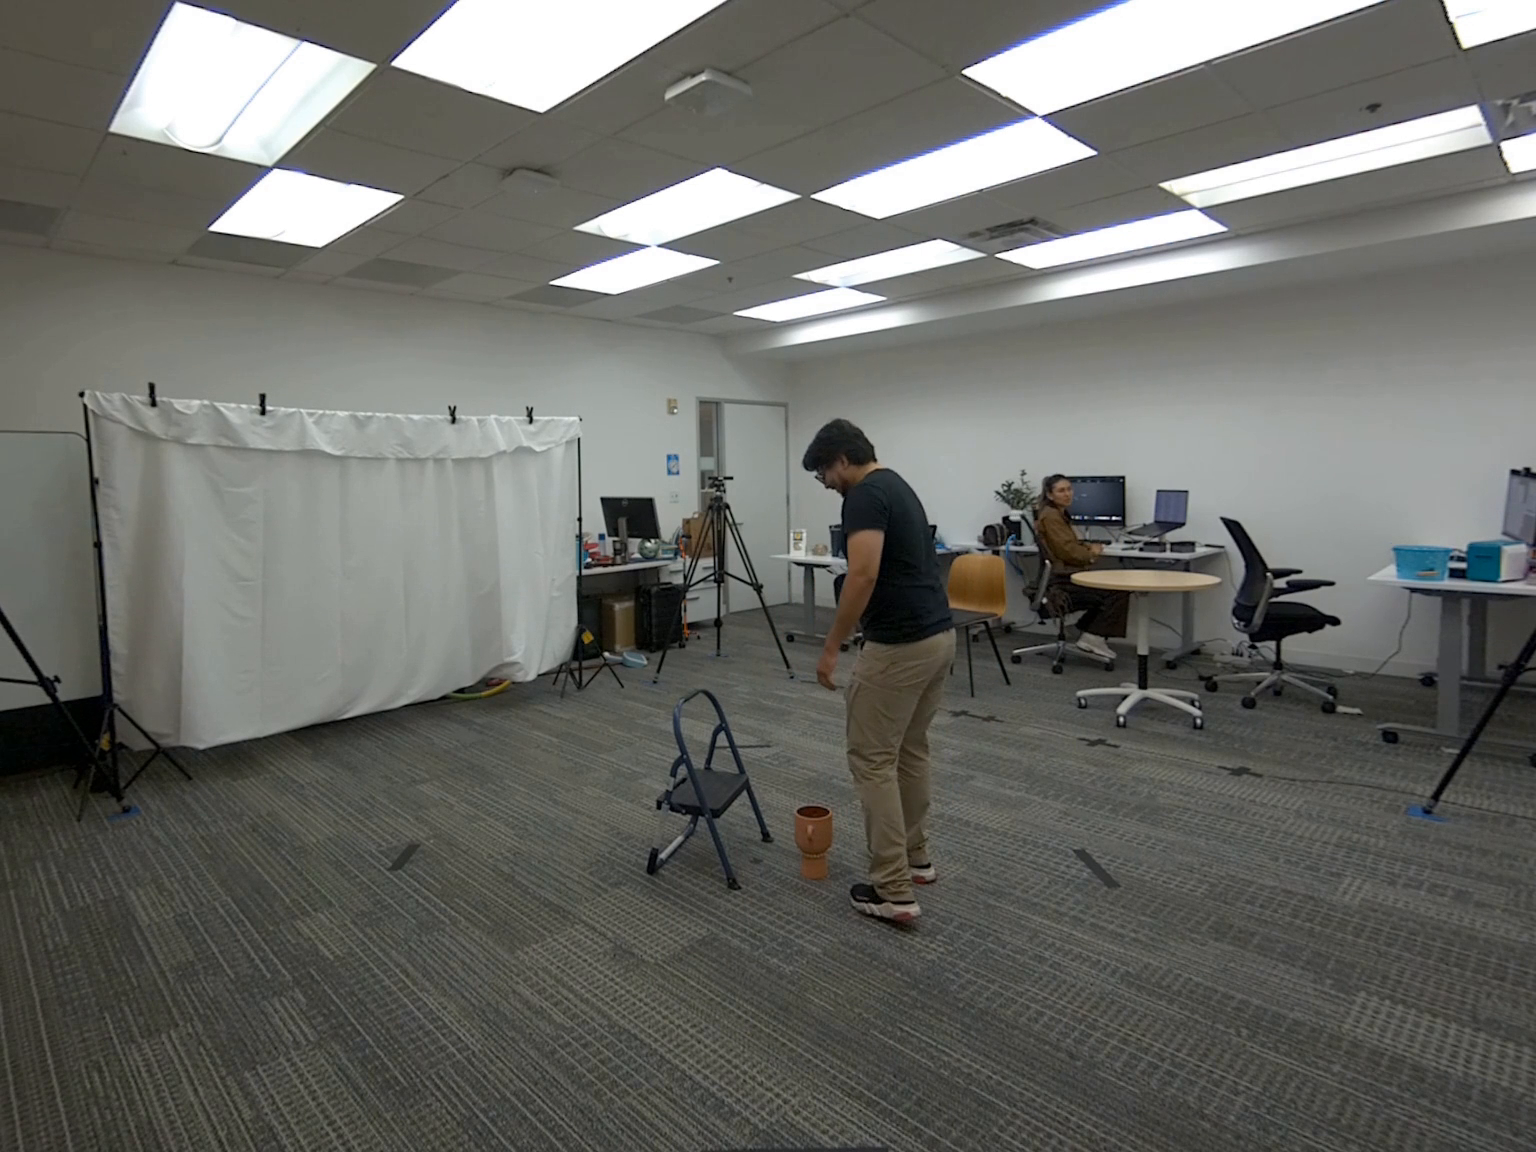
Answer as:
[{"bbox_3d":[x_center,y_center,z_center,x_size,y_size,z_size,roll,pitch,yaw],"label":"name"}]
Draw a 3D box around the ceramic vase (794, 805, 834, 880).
[{"bbox_3d":[0.161,0.929,2.990,0.155,0.219,0.139,-5,6,-38],"label":"ceramic vase"}]
